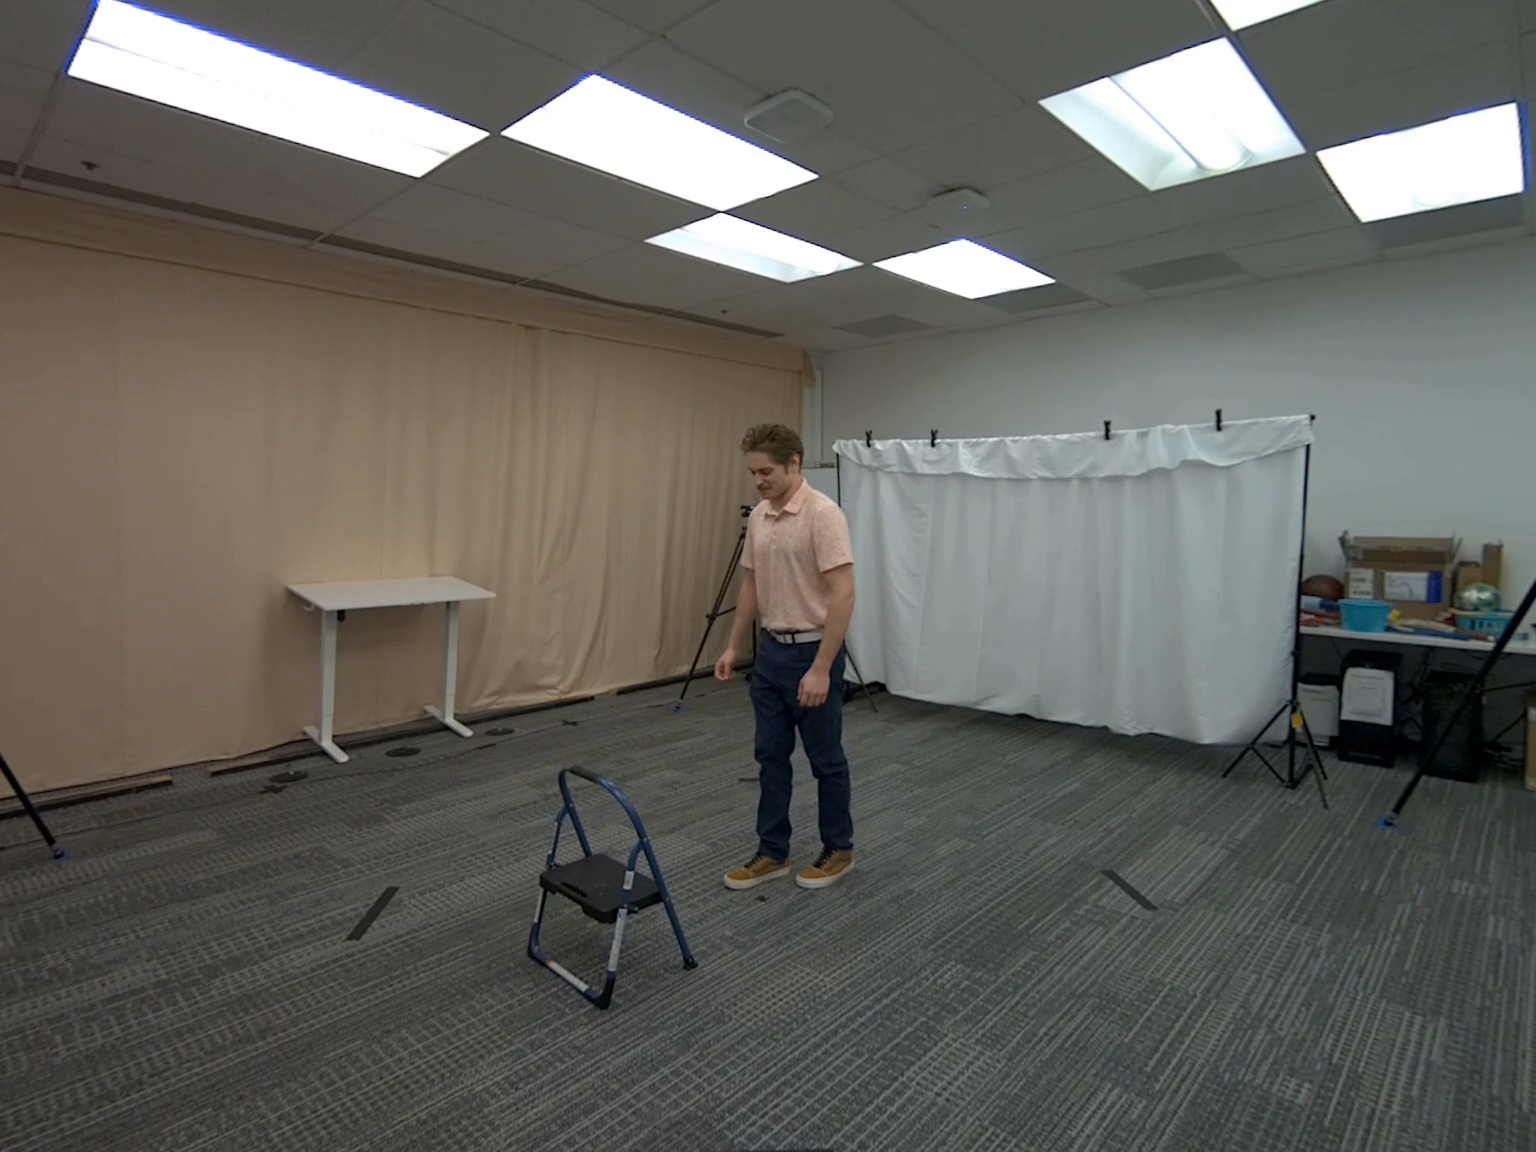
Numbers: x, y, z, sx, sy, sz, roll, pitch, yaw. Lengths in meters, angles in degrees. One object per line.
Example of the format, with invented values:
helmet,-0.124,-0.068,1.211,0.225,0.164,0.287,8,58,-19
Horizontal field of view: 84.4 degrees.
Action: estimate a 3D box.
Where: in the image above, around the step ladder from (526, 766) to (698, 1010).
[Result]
step ladder,-0.484,0.880,2.568,0.445,0.605,0.338,3,4,44
